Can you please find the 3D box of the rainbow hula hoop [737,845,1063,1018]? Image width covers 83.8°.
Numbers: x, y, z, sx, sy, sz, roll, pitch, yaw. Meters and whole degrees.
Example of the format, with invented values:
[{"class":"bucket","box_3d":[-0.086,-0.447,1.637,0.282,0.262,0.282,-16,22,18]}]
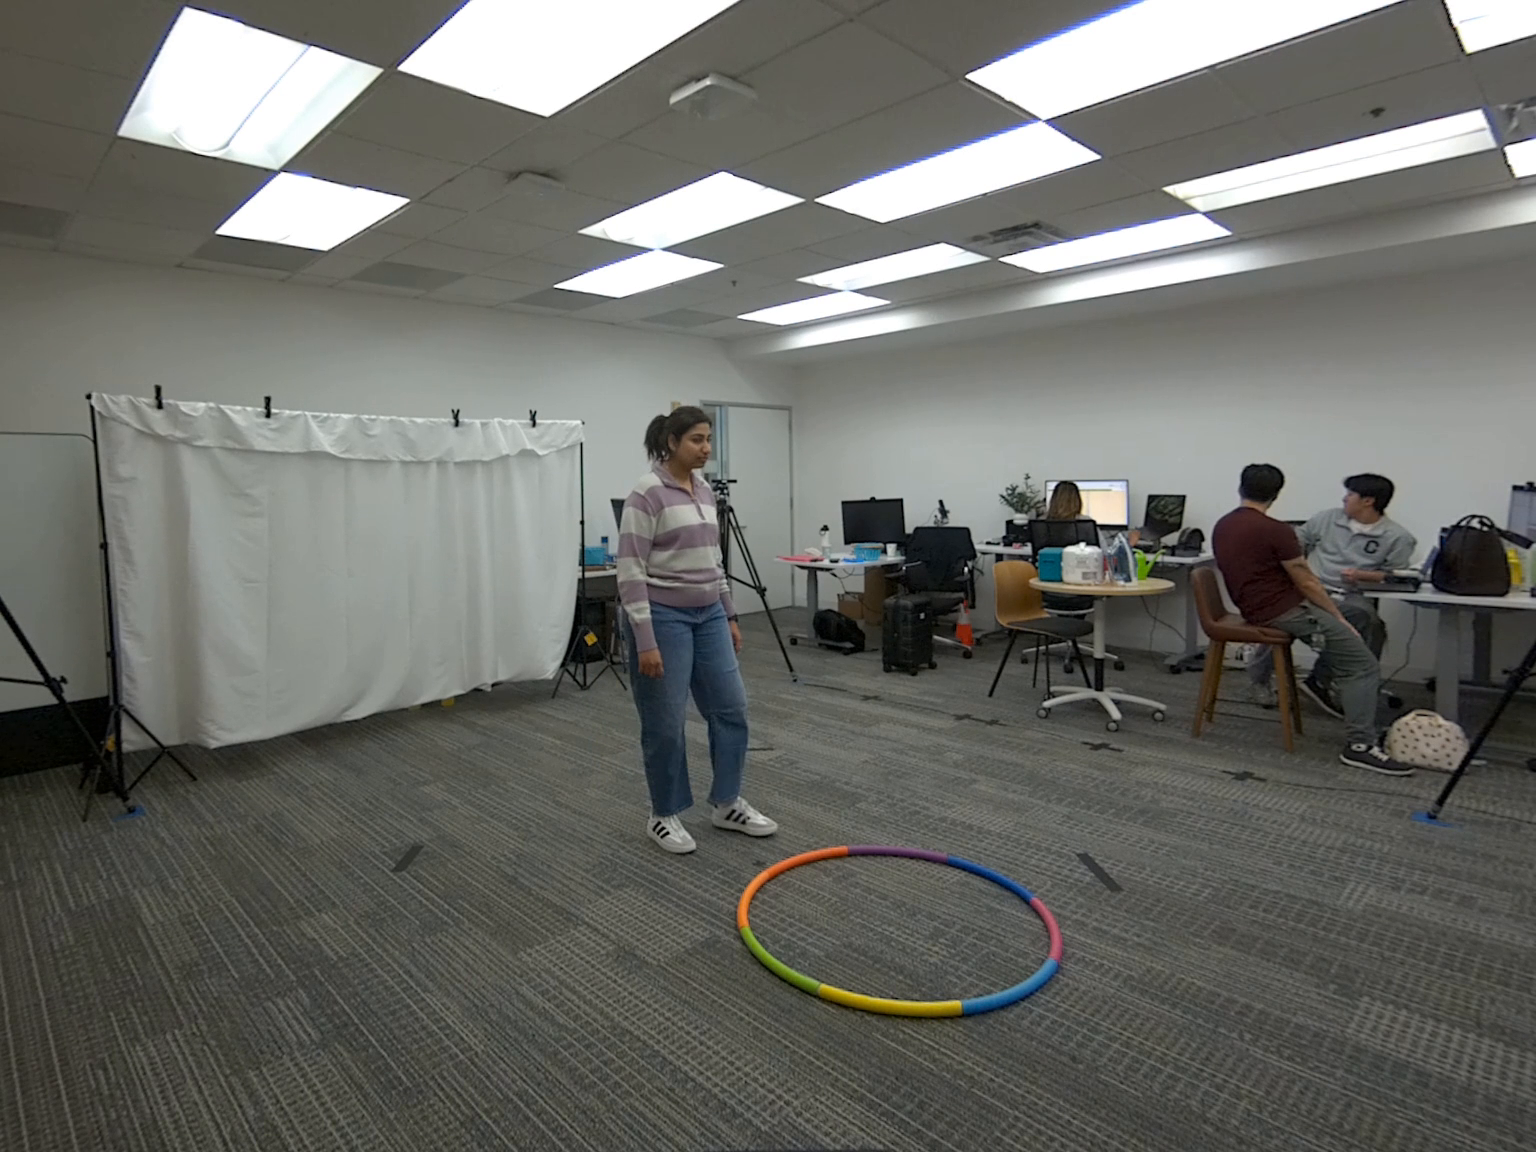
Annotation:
[{"class":"rainbow hula hoop","box_3d":[0.397,1.060,2.688,0.978,0.035,0.984,-2,7,-2]}]
